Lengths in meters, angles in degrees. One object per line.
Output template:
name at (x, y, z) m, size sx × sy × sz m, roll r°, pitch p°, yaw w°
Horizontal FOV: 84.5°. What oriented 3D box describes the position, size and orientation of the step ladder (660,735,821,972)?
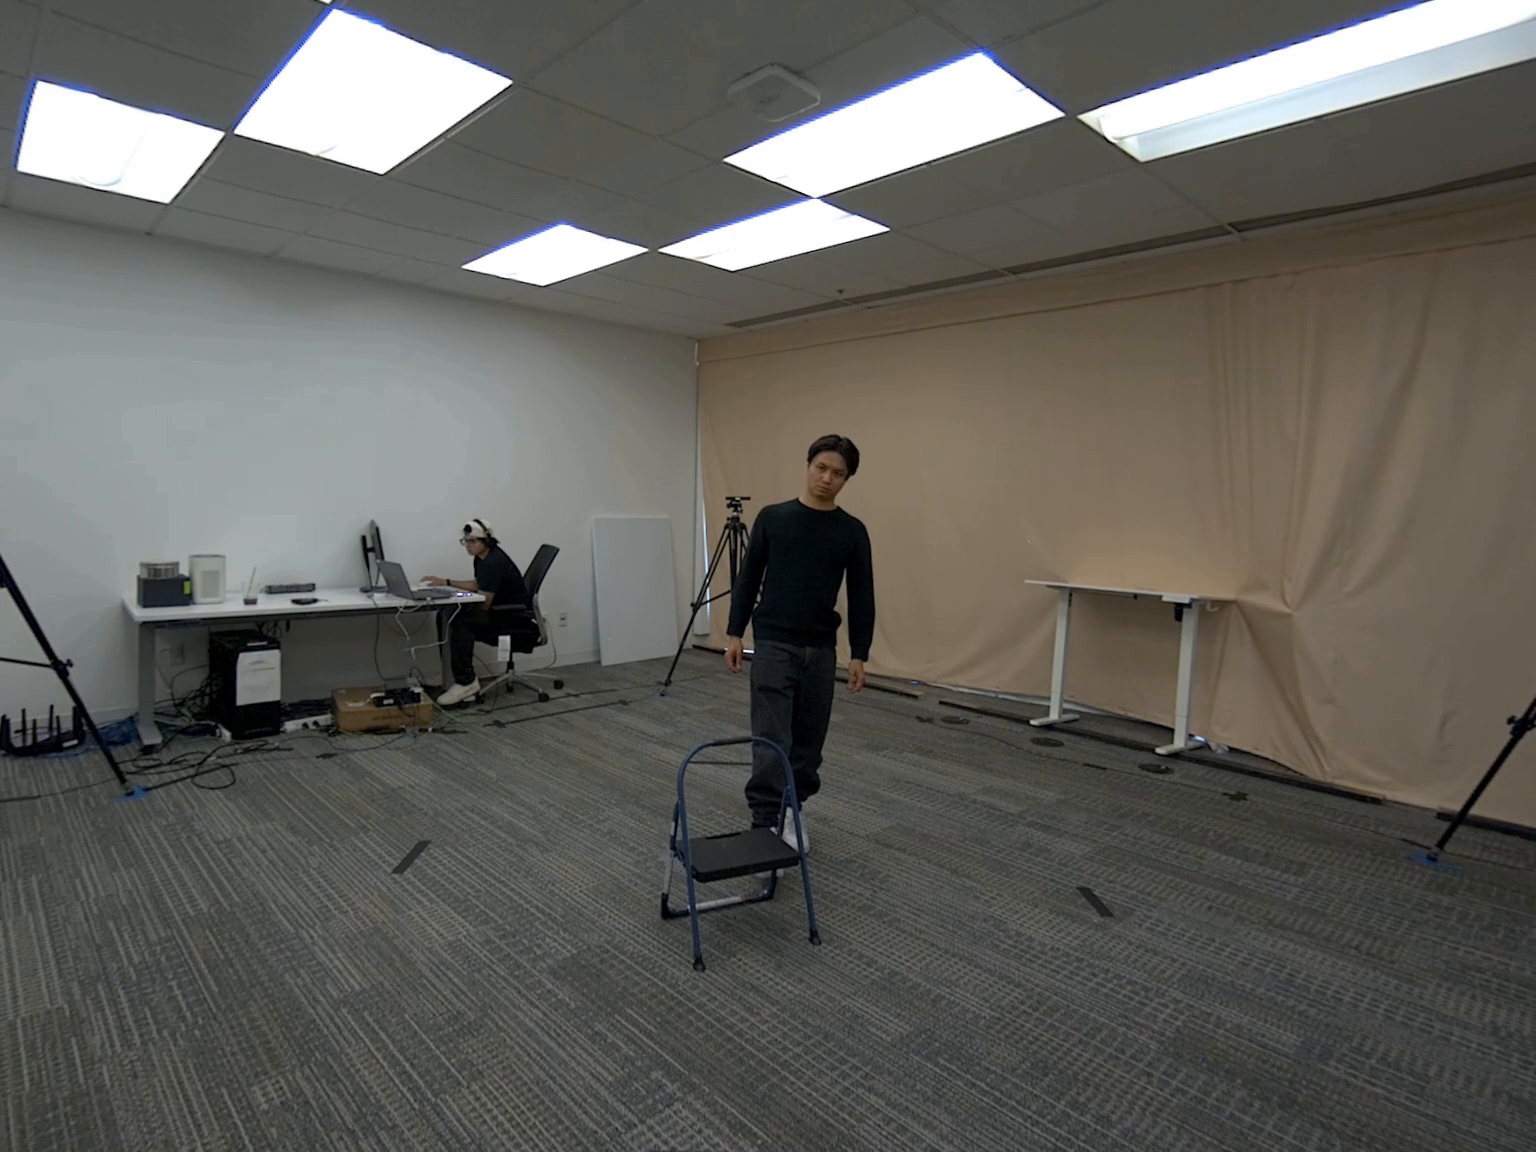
step ladder at (-0.095, 0.842, 2.695) m, size 0.423 × 0.604 × 0.357 m, roll -1°, pitch 4°, yaw -27°
